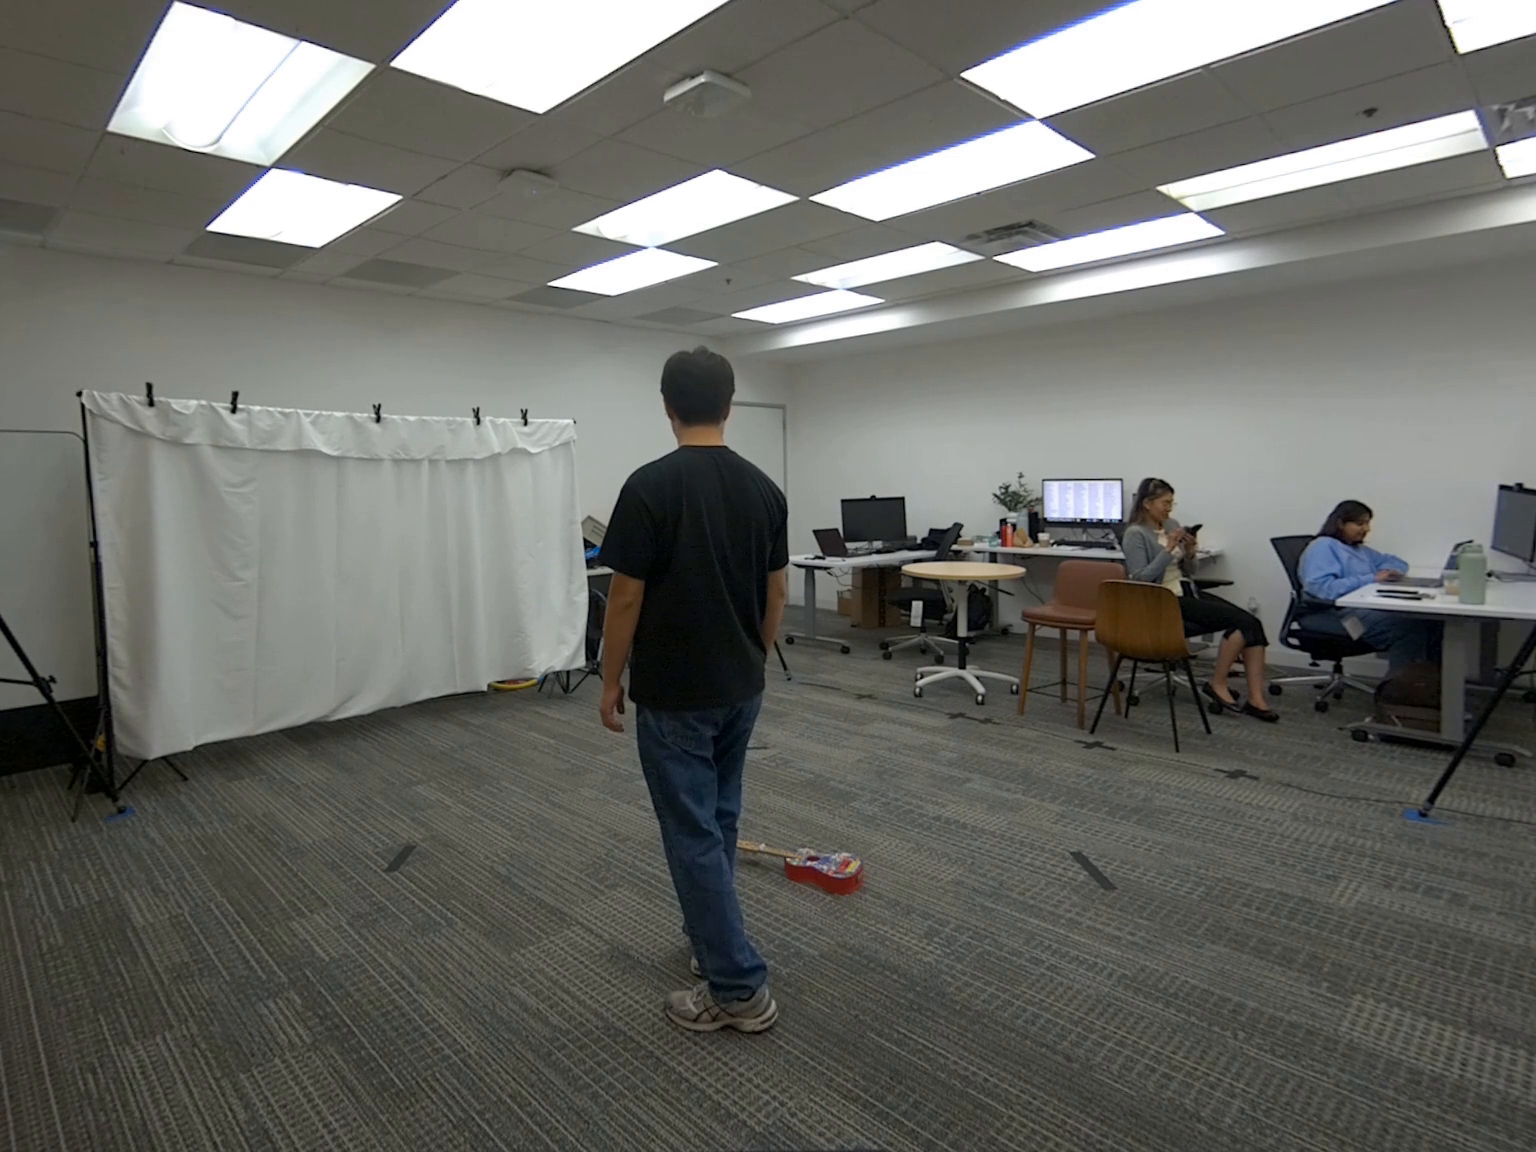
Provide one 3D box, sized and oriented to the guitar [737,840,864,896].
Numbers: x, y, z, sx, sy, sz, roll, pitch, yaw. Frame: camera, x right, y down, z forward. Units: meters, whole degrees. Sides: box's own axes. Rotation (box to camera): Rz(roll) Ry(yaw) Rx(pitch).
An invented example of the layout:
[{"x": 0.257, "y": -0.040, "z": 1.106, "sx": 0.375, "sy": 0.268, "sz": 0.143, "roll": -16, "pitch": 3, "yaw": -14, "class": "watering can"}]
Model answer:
[{"x": 0.110, "y": 1.013, "z": 3.052, "sx": 0.512, "sy": 0.070, "sz": 0.188, "roll": 4, "pitch": 7, "yaw": 35, "class": "guitar"}]
